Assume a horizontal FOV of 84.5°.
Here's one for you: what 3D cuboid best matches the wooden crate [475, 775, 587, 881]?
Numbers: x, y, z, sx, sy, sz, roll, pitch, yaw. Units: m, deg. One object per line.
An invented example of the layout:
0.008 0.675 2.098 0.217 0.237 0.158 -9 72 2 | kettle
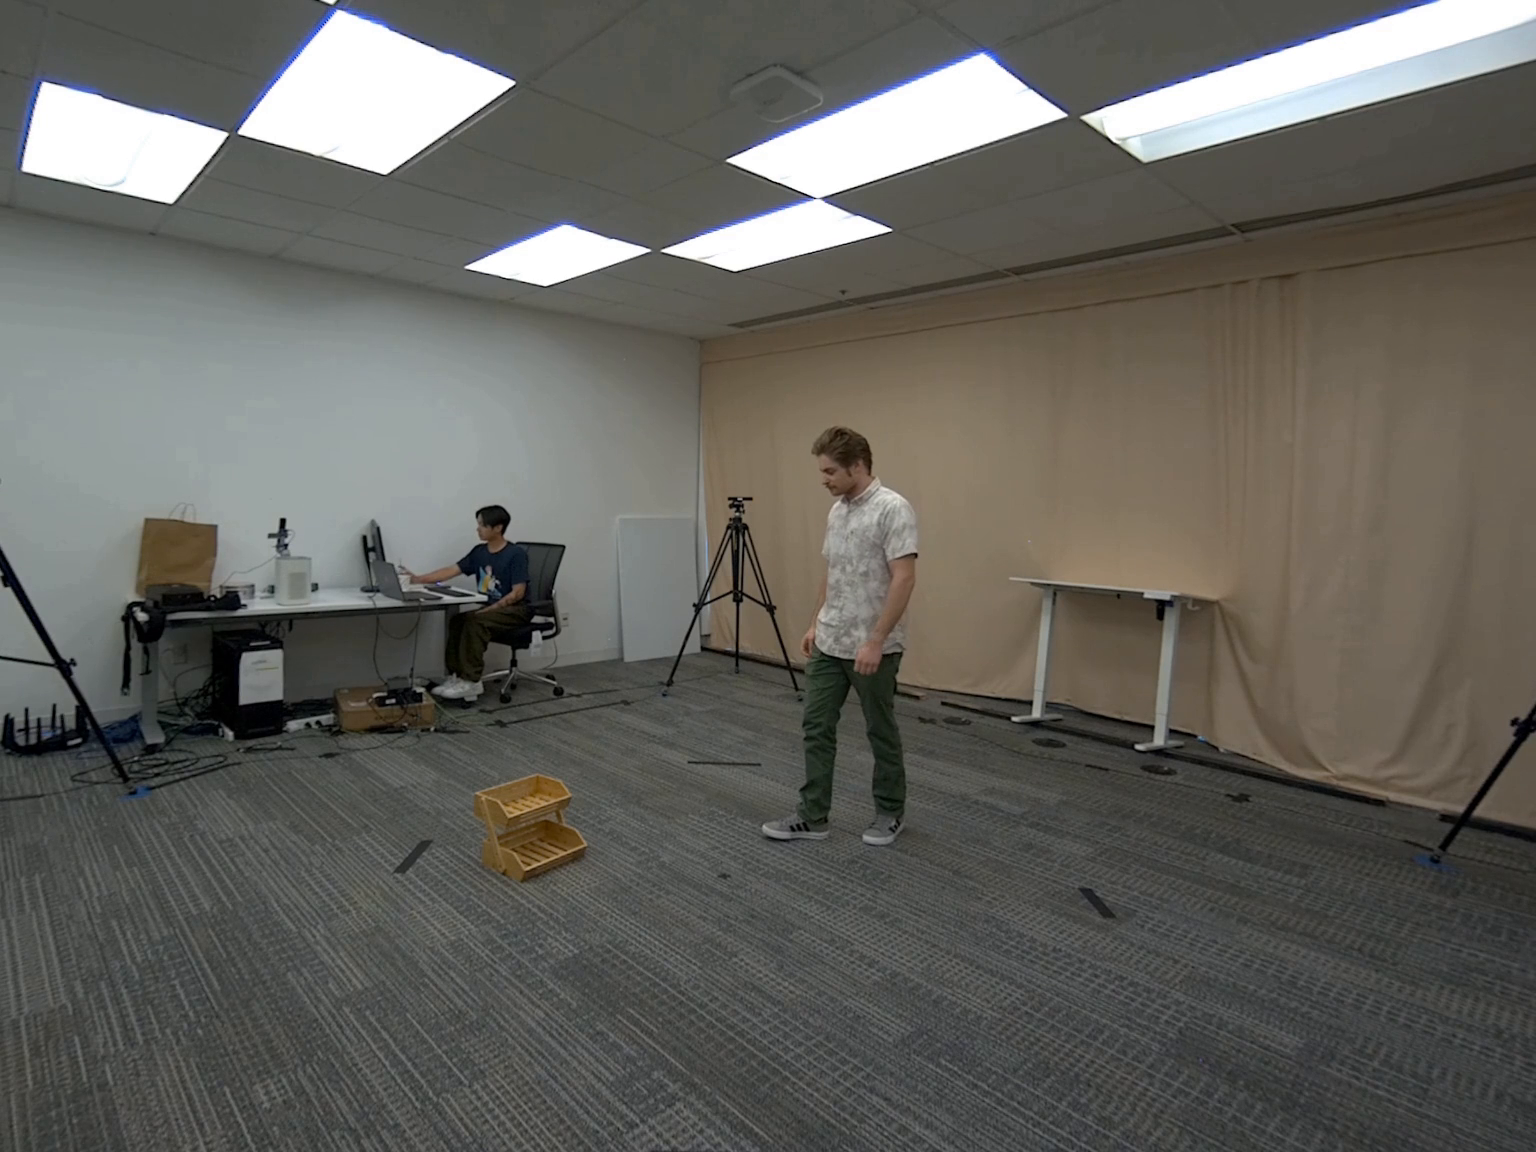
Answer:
-0.909 0.948 3.206 0.309 0.273 0.317 4 5 36 | wooden crate
